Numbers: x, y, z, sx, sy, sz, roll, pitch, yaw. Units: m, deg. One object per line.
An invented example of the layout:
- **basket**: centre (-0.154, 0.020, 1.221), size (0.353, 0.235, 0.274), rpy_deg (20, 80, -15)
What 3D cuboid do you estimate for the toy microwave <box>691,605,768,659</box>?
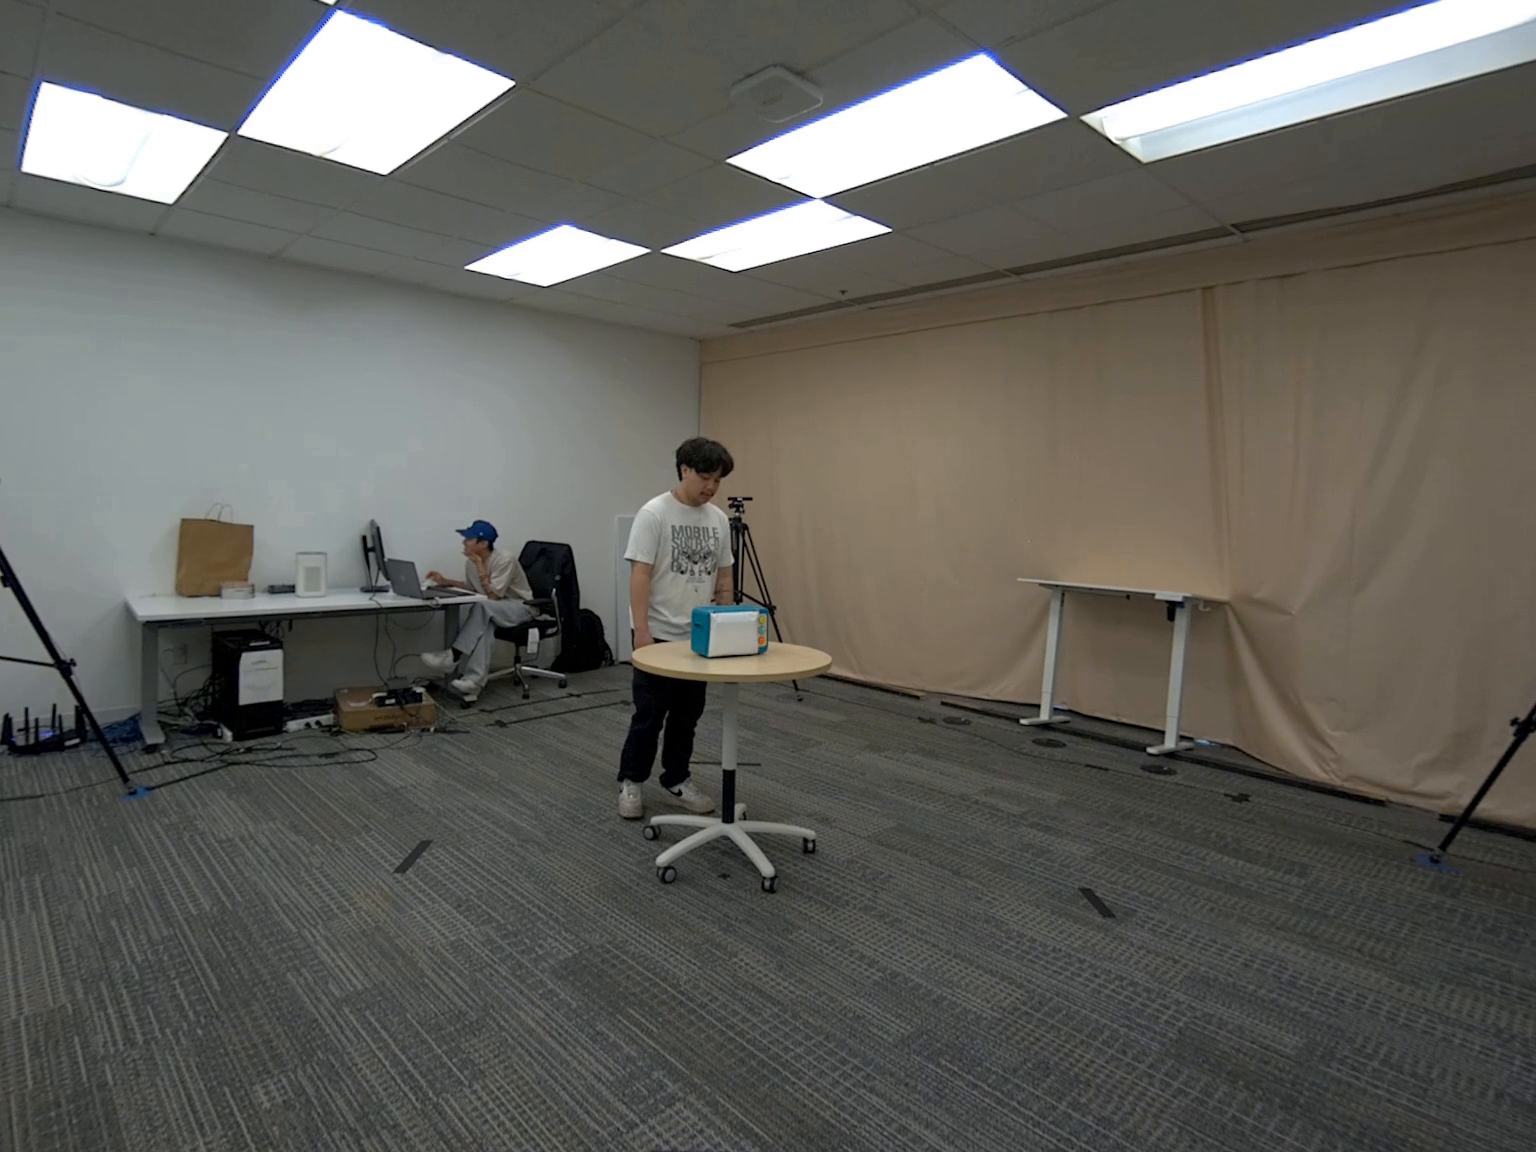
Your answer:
- **toy microwave**: centre (-0.148, 0.211, 3.236), size (0.280, 0.184, 0.156), rpy_deg (-1, 4, -31)
